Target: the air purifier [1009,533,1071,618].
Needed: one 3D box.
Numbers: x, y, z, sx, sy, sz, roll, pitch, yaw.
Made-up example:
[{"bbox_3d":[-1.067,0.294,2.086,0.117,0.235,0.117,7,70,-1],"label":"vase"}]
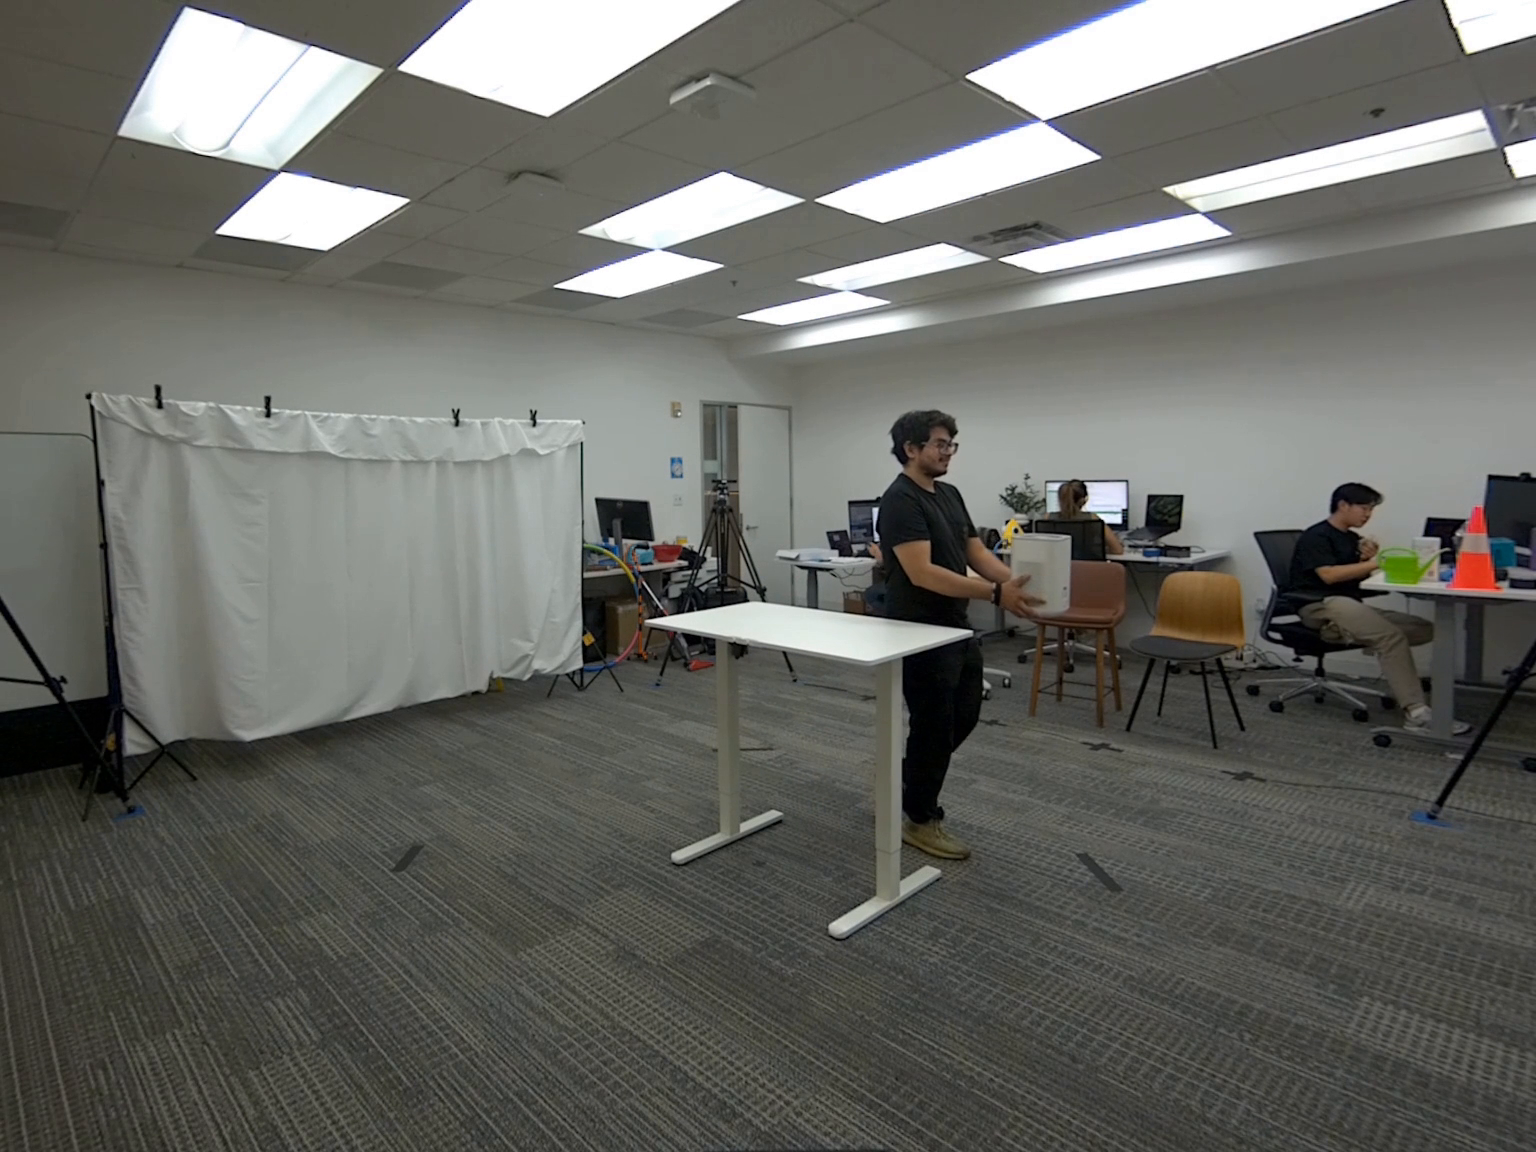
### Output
[{"bbox_3d":[0.932,-0.003,2.900,0.177,0.264,0.167,5,8,41],"label":"air purifier"}]
